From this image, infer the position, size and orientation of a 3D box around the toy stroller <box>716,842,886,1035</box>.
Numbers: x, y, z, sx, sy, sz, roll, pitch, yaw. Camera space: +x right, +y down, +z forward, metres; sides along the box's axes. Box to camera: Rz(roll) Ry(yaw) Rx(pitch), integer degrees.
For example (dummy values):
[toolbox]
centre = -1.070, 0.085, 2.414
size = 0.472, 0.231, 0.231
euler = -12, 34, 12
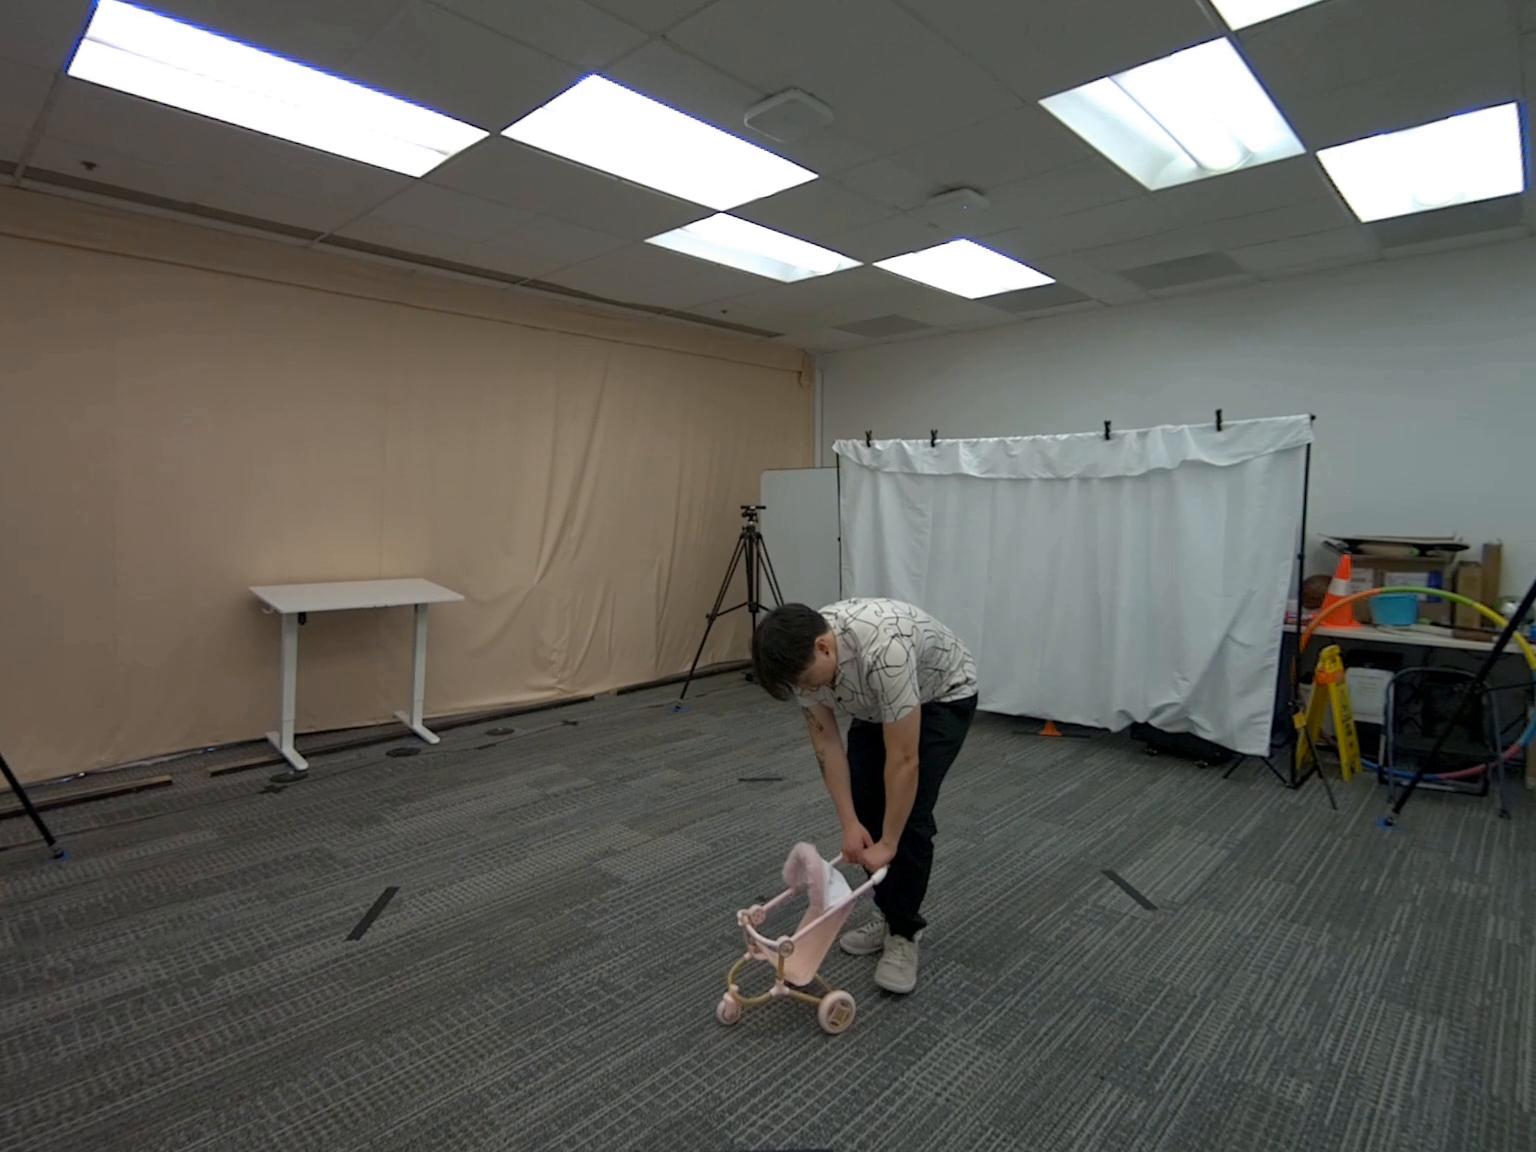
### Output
[toy stroller]
centre = 0.087, 0.984, 2.315
size = 0.335, 0.535, 0.286
euler = 18, -3, -16
